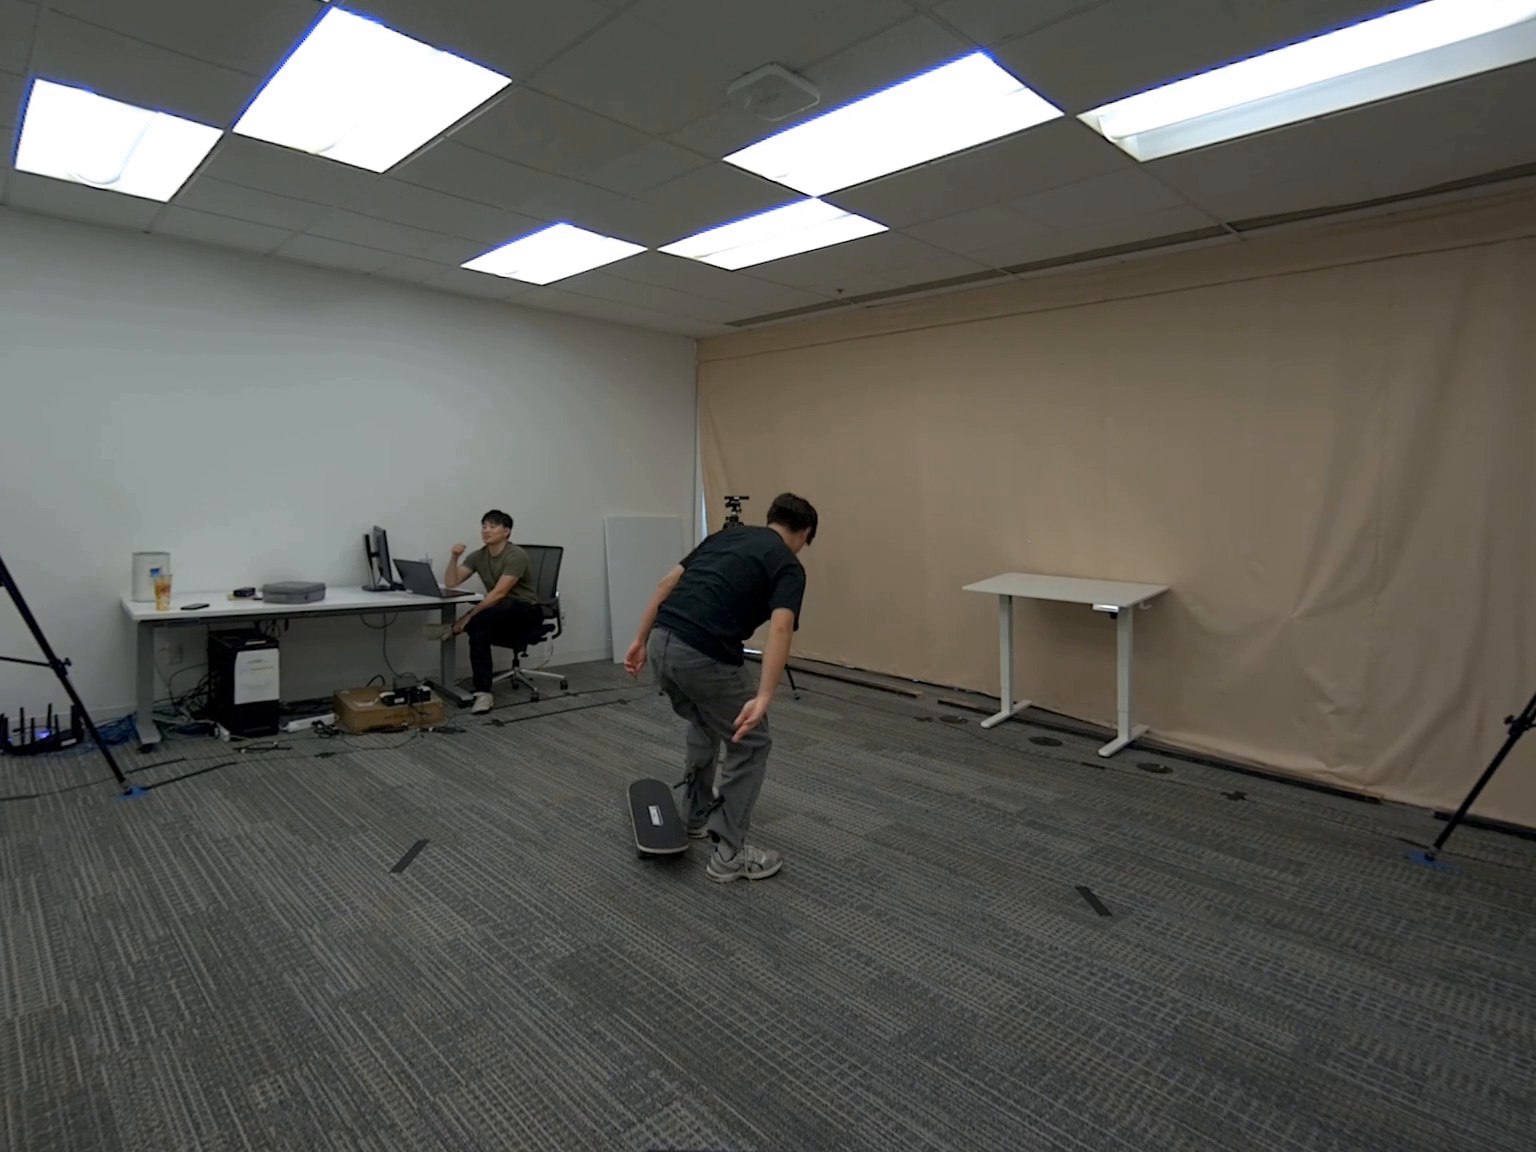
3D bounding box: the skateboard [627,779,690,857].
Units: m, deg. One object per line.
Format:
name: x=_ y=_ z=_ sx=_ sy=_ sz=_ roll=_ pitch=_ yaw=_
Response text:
skateboard: x=-0.474 y=1.014 z=3.443 sx=0.192 sy=0.110 sz=0.794 roll=1 pitch=5 yaw=-11
